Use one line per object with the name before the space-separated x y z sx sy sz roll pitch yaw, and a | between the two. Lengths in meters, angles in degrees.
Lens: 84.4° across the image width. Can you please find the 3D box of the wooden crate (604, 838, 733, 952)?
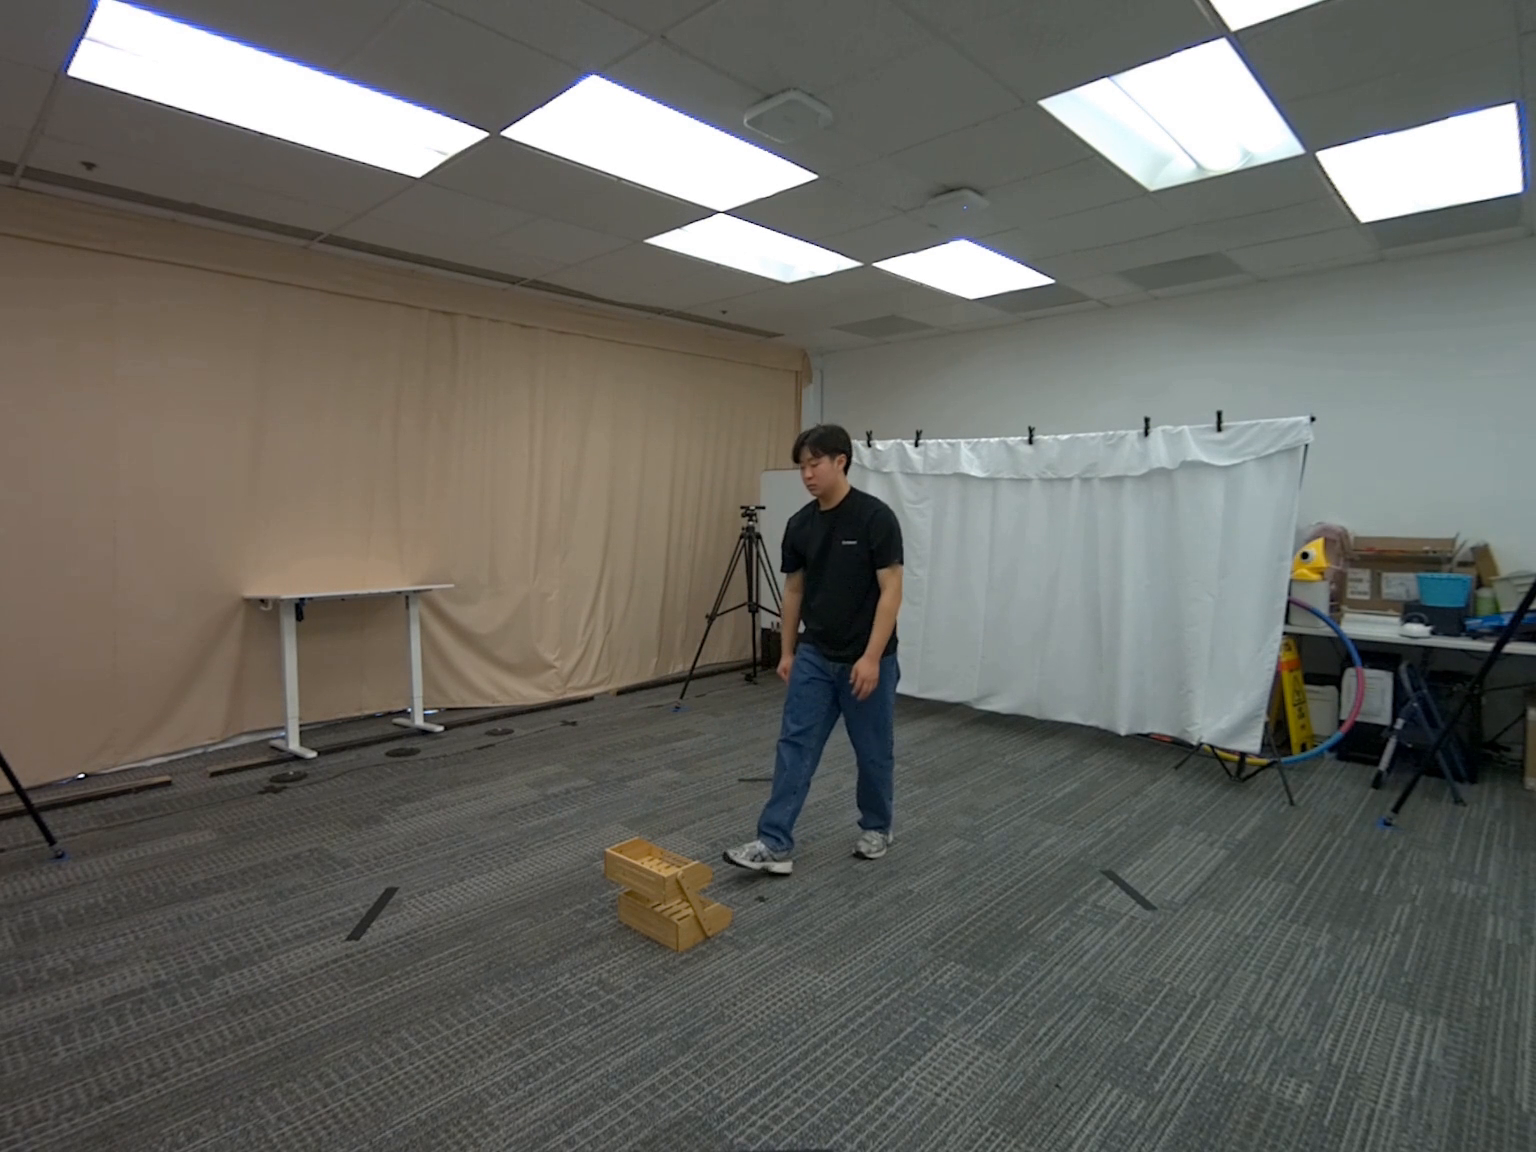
wooden crate | -0.326 1.040 2.786 0.335 0.273 0.293 2 5 43
